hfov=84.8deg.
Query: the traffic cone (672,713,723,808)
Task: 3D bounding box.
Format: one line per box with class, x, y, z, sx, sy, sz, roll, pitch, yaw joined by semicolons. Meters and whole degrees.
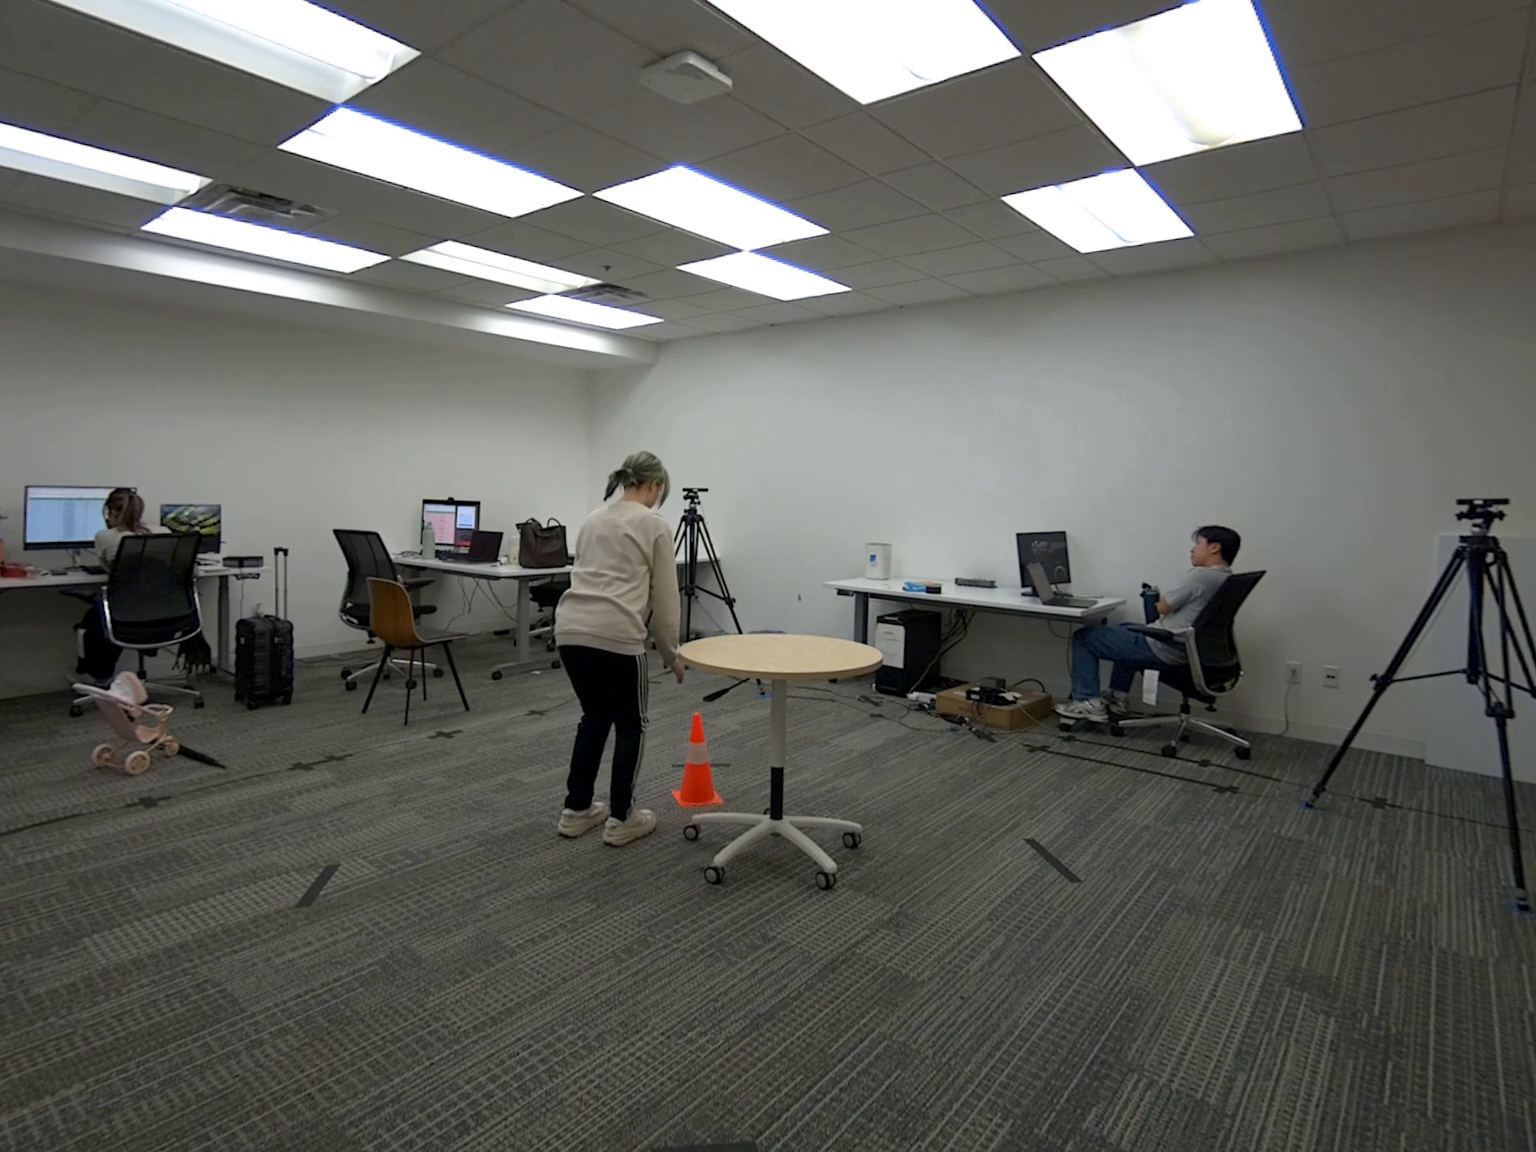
traffic cone;-0.328;0.813;3.835;0.202;0.382;0.207;0;4;-15
